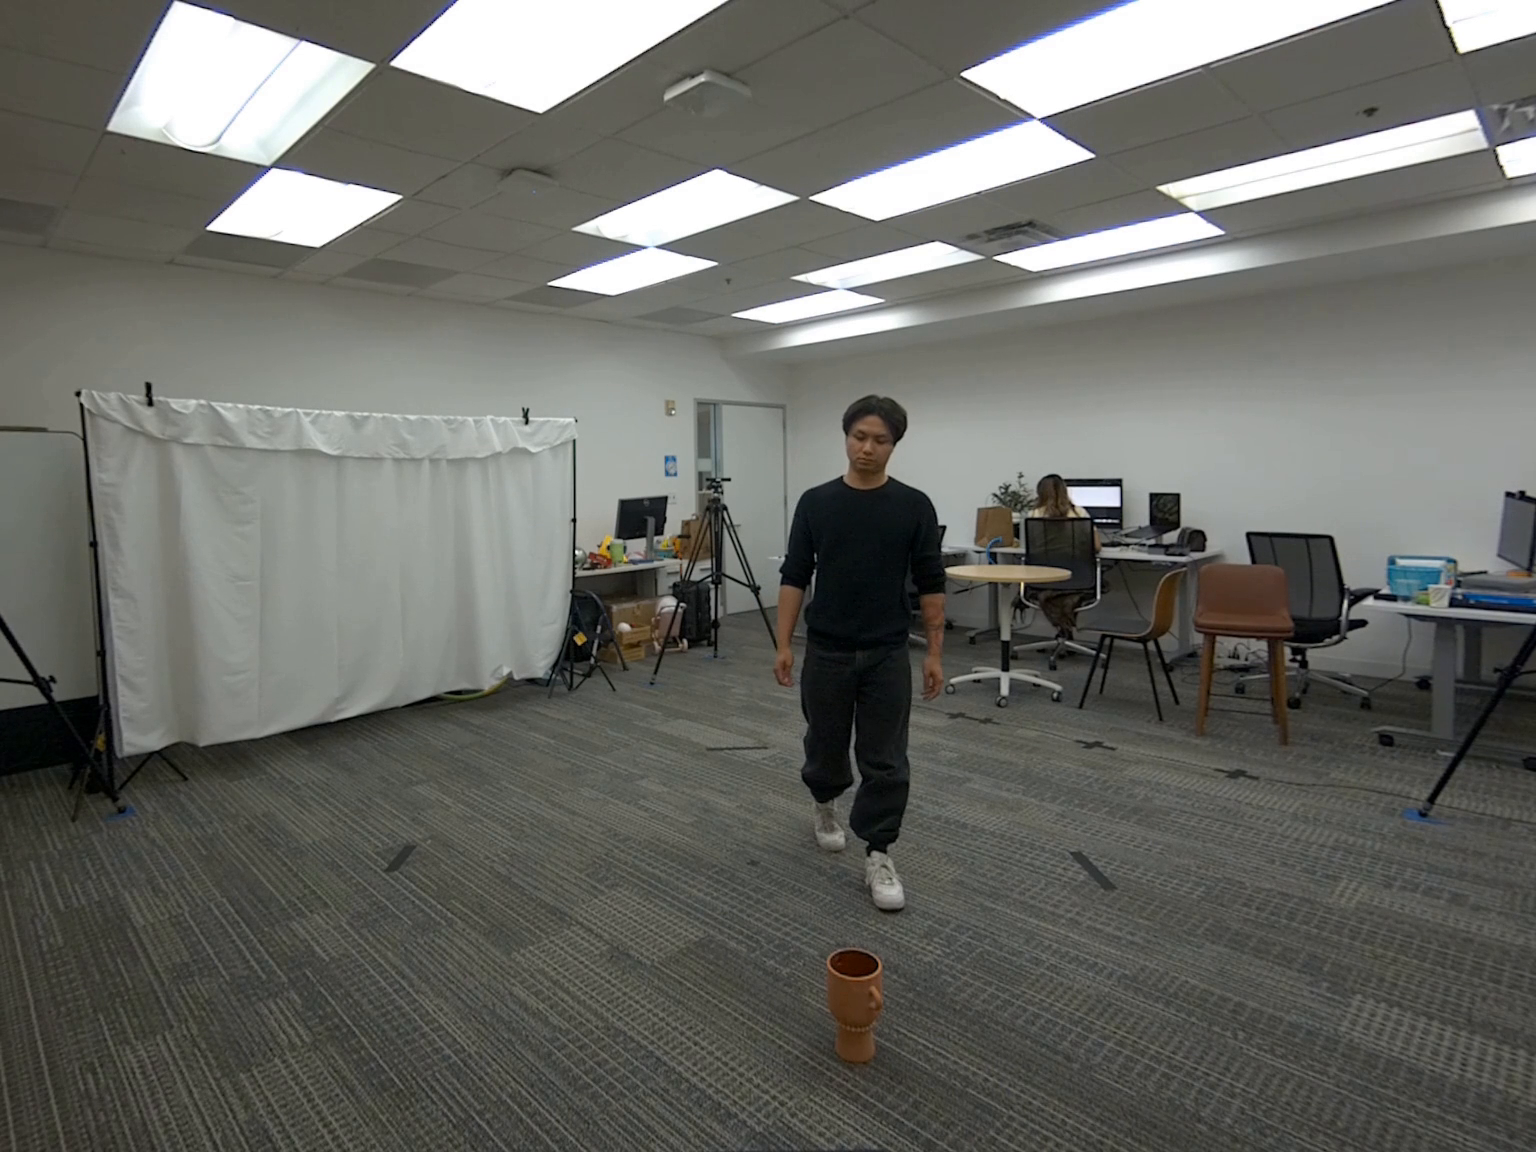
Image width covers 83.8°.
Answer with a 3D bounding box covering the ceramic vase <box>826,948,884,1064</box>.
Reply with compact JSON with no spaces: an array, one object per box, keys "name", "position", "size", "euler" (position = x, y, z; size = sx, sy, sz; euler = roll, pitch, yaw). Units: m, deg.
[{"name":"ceramic vase","position":[0.222,1.049,2.073],"size":[0.136,0.219,0.158],"euler":[-1,6,8]}]
